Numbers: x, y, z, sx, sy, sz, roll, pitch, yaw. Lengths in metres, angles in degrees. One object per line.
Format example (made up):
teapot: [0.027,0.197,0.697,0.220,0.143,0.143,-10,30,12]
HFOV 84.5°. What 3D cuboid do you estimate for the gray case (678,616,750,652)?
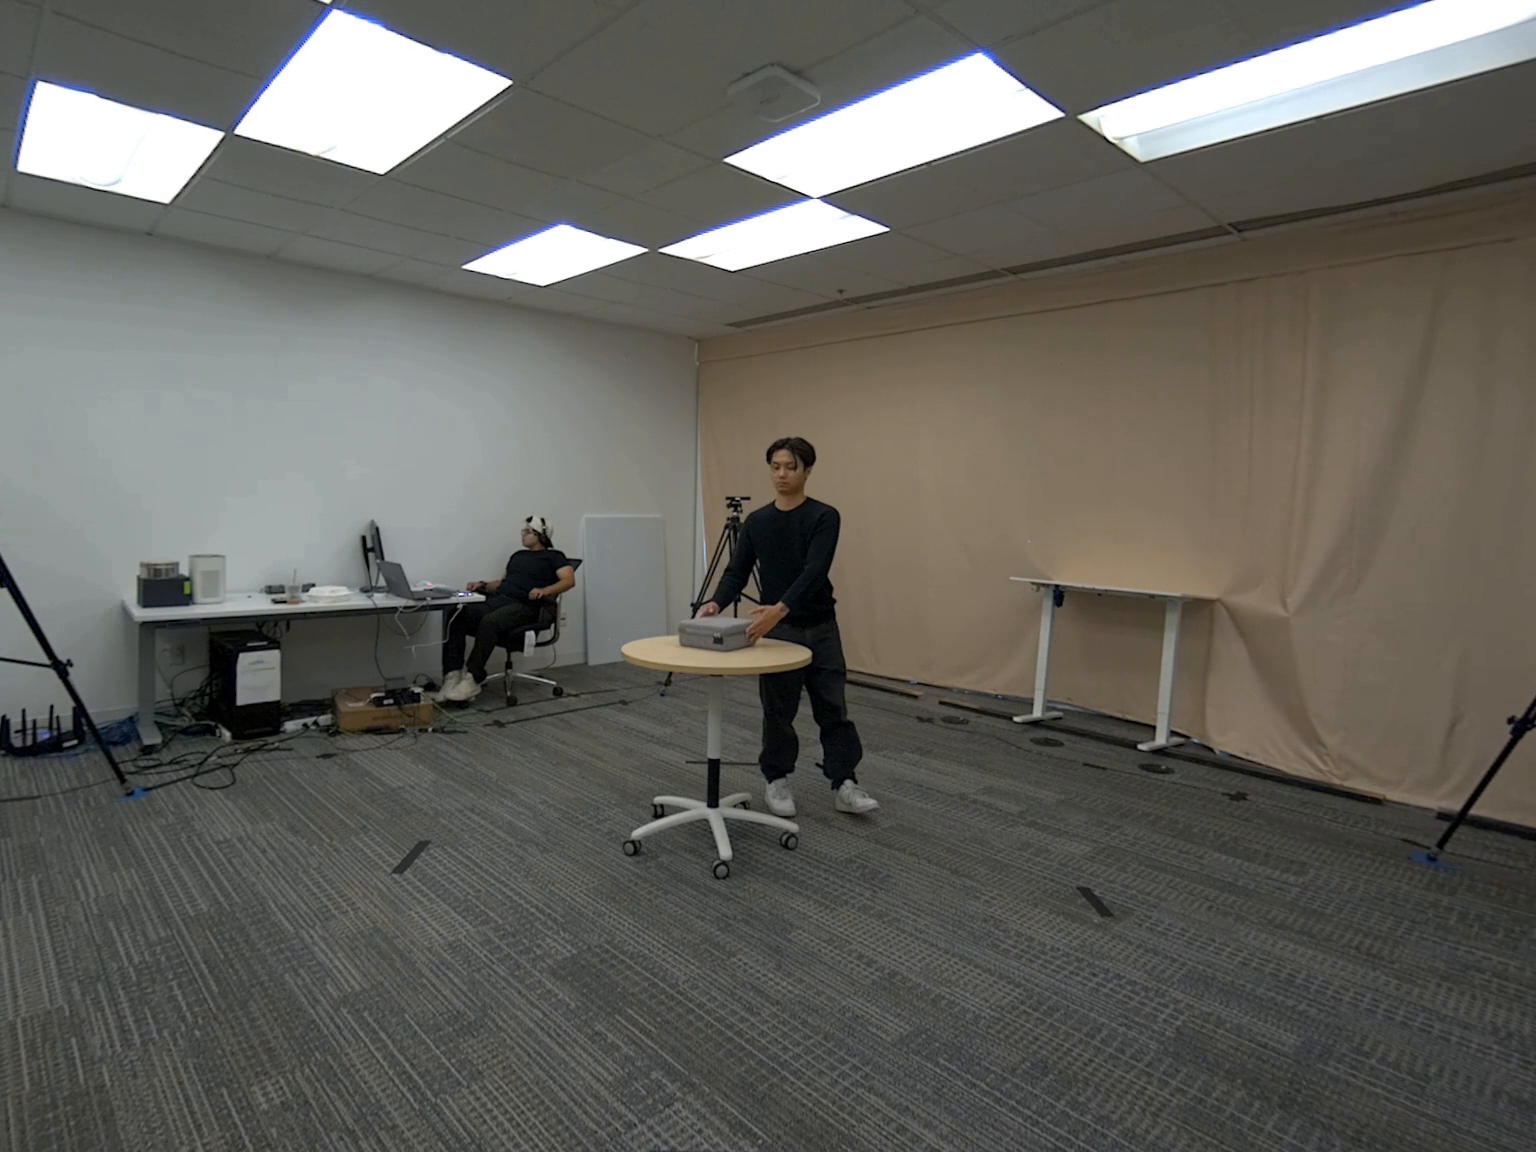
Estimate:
gray case: [-0.228,0.238,3.491,0.262,0.104,0.256,1,5,29]
